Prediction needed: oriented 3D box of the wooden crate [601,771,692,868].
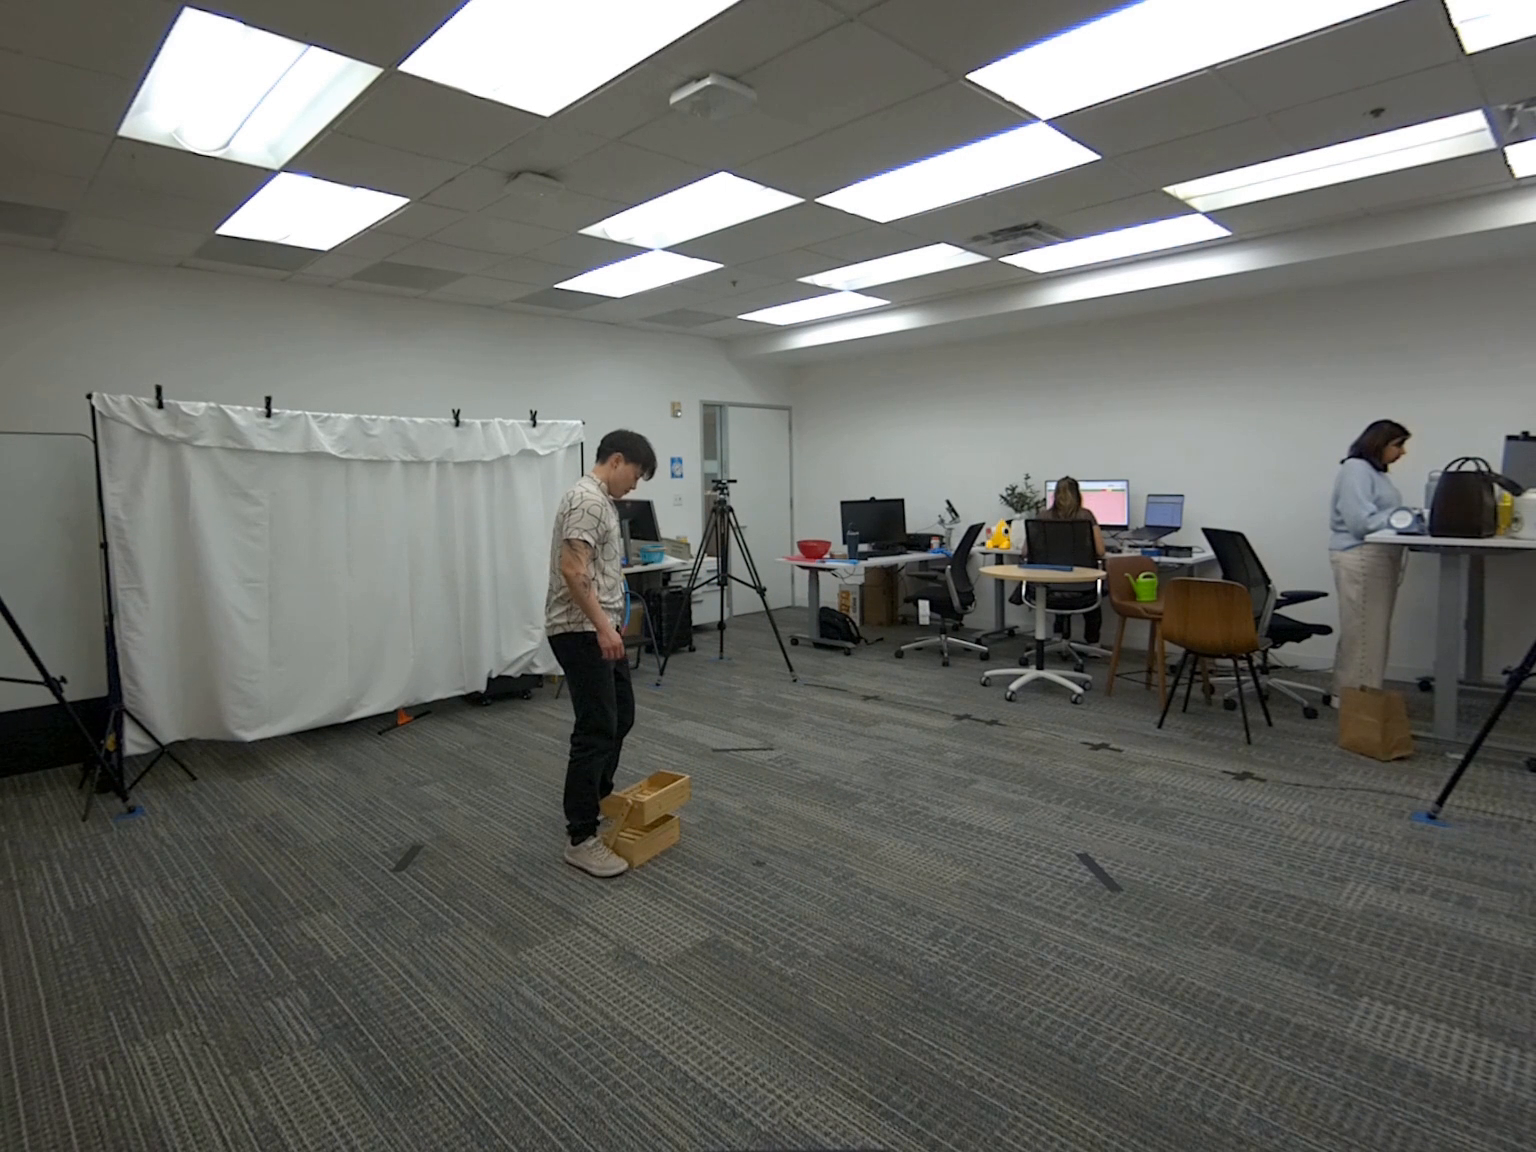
[{"bbox_3d":[-0.496,0.904,3.258,0.310,0.272,0.317,3,6,31],"label":"wooden crate"}]
